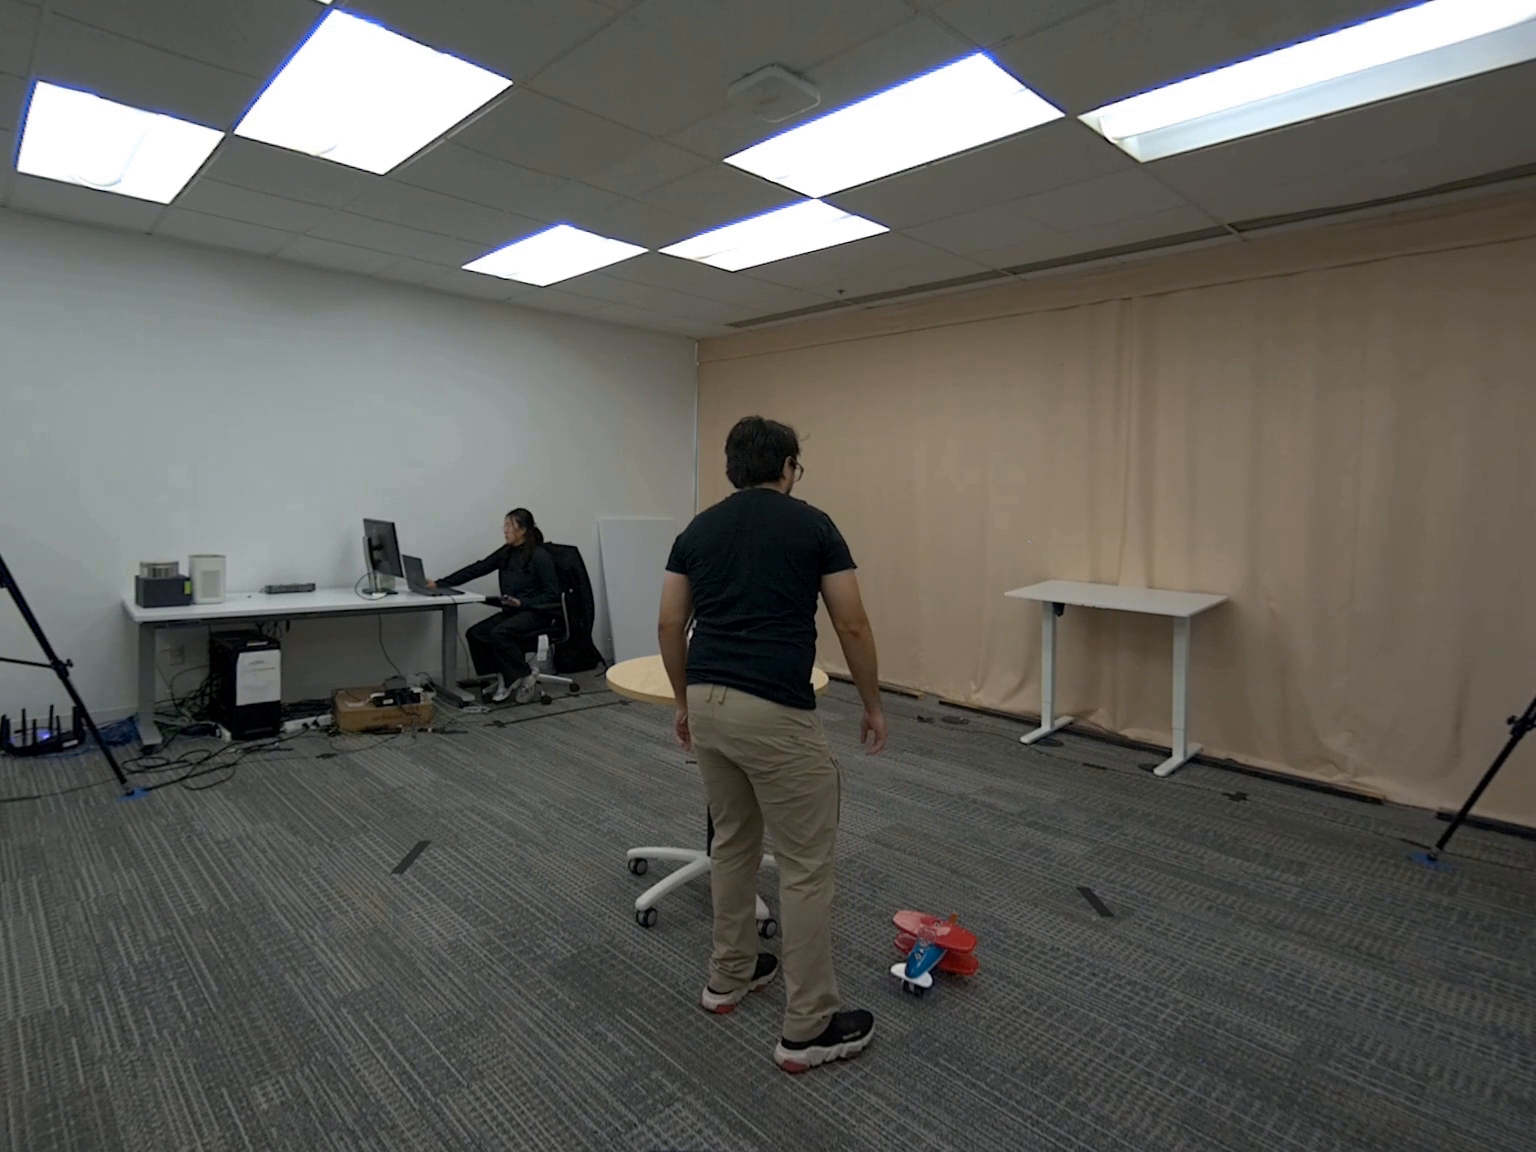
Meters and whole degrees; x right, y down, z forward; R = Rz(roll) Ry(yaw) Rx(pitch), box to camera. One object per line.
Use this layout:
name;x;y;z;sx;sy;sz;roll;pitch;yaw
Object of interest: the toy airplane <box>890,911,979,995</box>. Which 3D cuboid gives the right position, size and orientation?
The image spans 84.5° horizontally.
toy airplane;0.484;1.109;2.447;0.253;0.156;0.257;3;3;9
